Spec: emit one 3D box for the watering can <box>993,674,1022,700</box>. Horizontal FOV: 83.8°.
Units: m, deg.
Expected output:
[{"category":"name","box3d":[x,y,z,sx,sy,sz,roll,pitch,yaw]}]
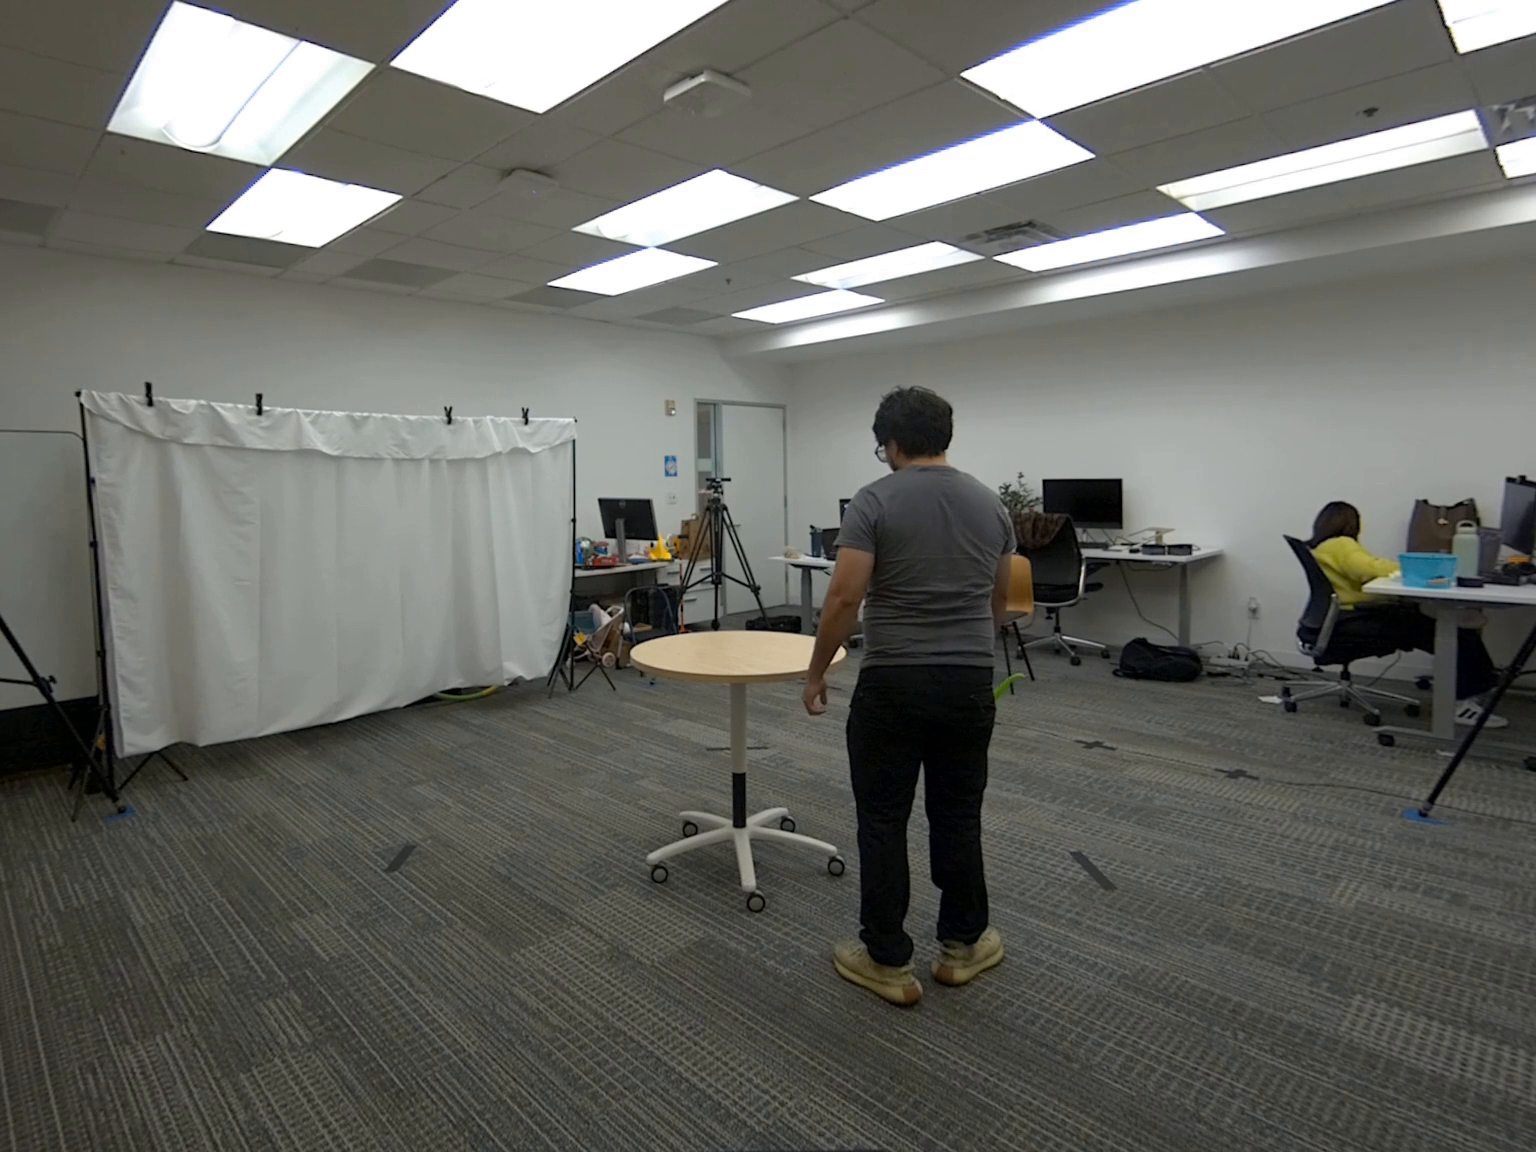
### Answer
[{"category":"watering can","box3d":[0.655,0.379,2.651,0.094,0.178,0.286,17,-12,-39]}]
